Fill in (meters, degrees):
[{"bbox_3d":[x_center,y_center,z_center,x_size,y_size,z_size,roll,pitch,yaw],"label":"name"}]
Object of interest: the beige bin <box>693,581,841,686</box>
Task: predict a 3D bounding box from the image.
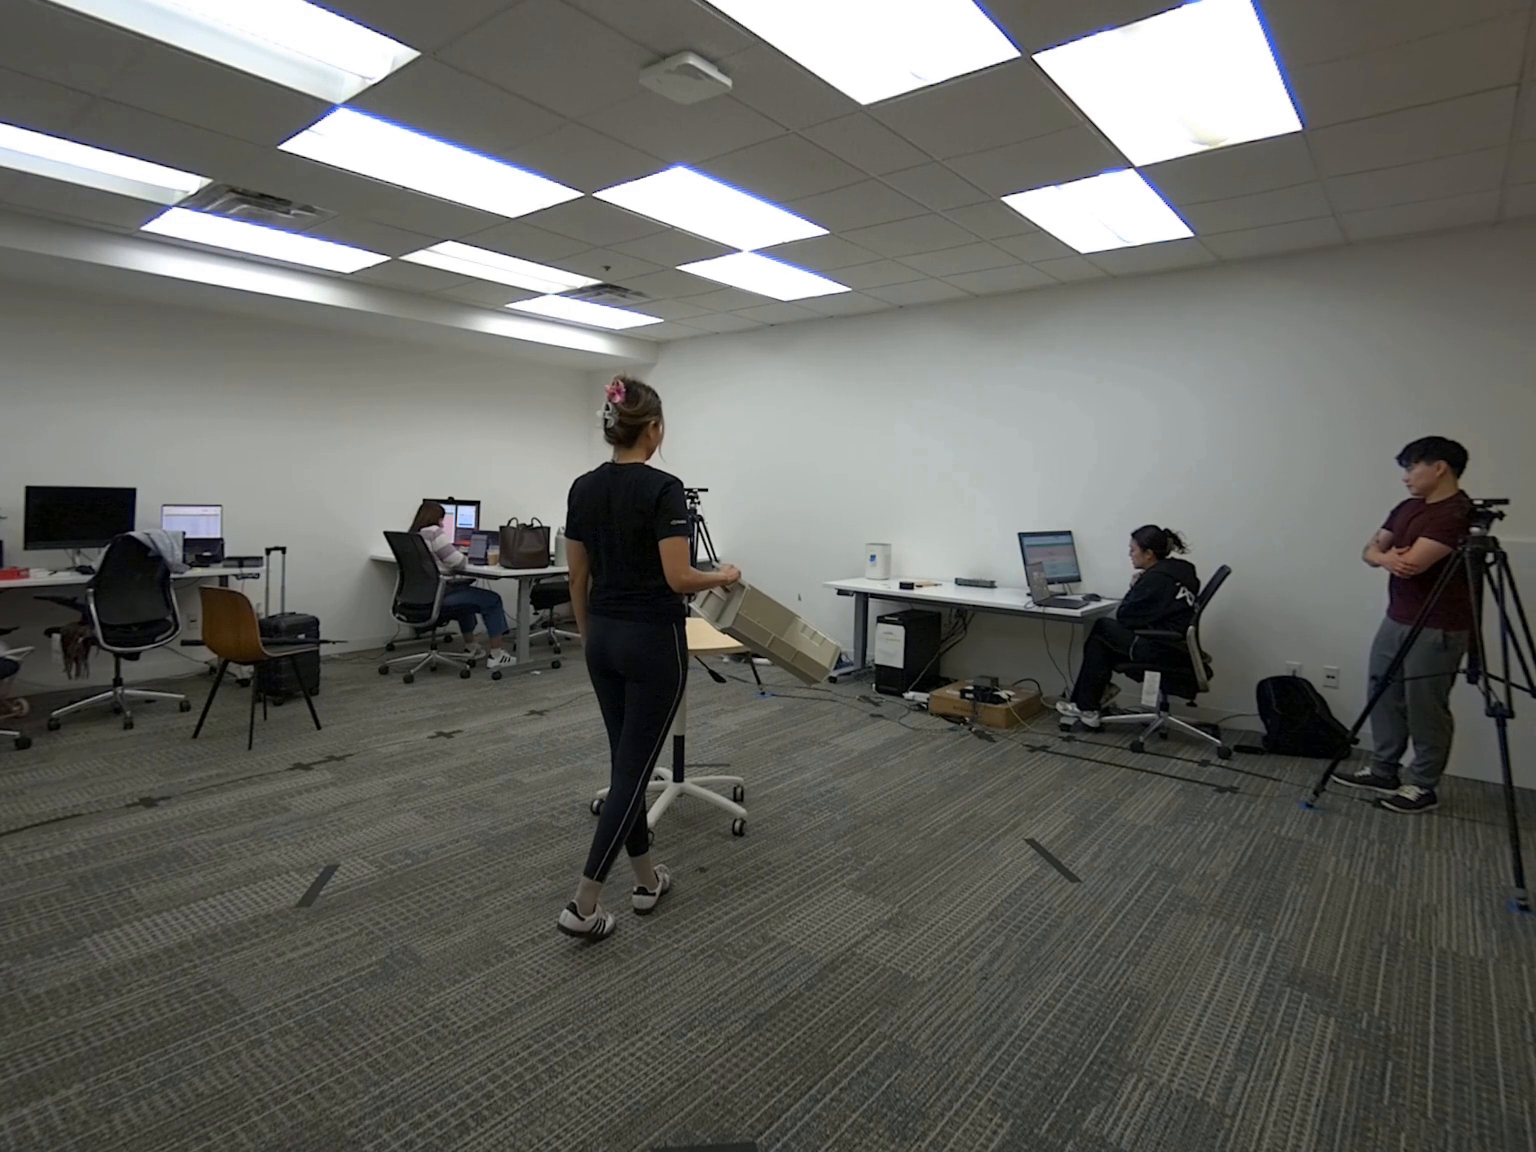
[{"bbox_3d":[-0.019,0.165,2.922,0.409,0.189,0.389,33,-2,-25],"label":"beige bin"}]
